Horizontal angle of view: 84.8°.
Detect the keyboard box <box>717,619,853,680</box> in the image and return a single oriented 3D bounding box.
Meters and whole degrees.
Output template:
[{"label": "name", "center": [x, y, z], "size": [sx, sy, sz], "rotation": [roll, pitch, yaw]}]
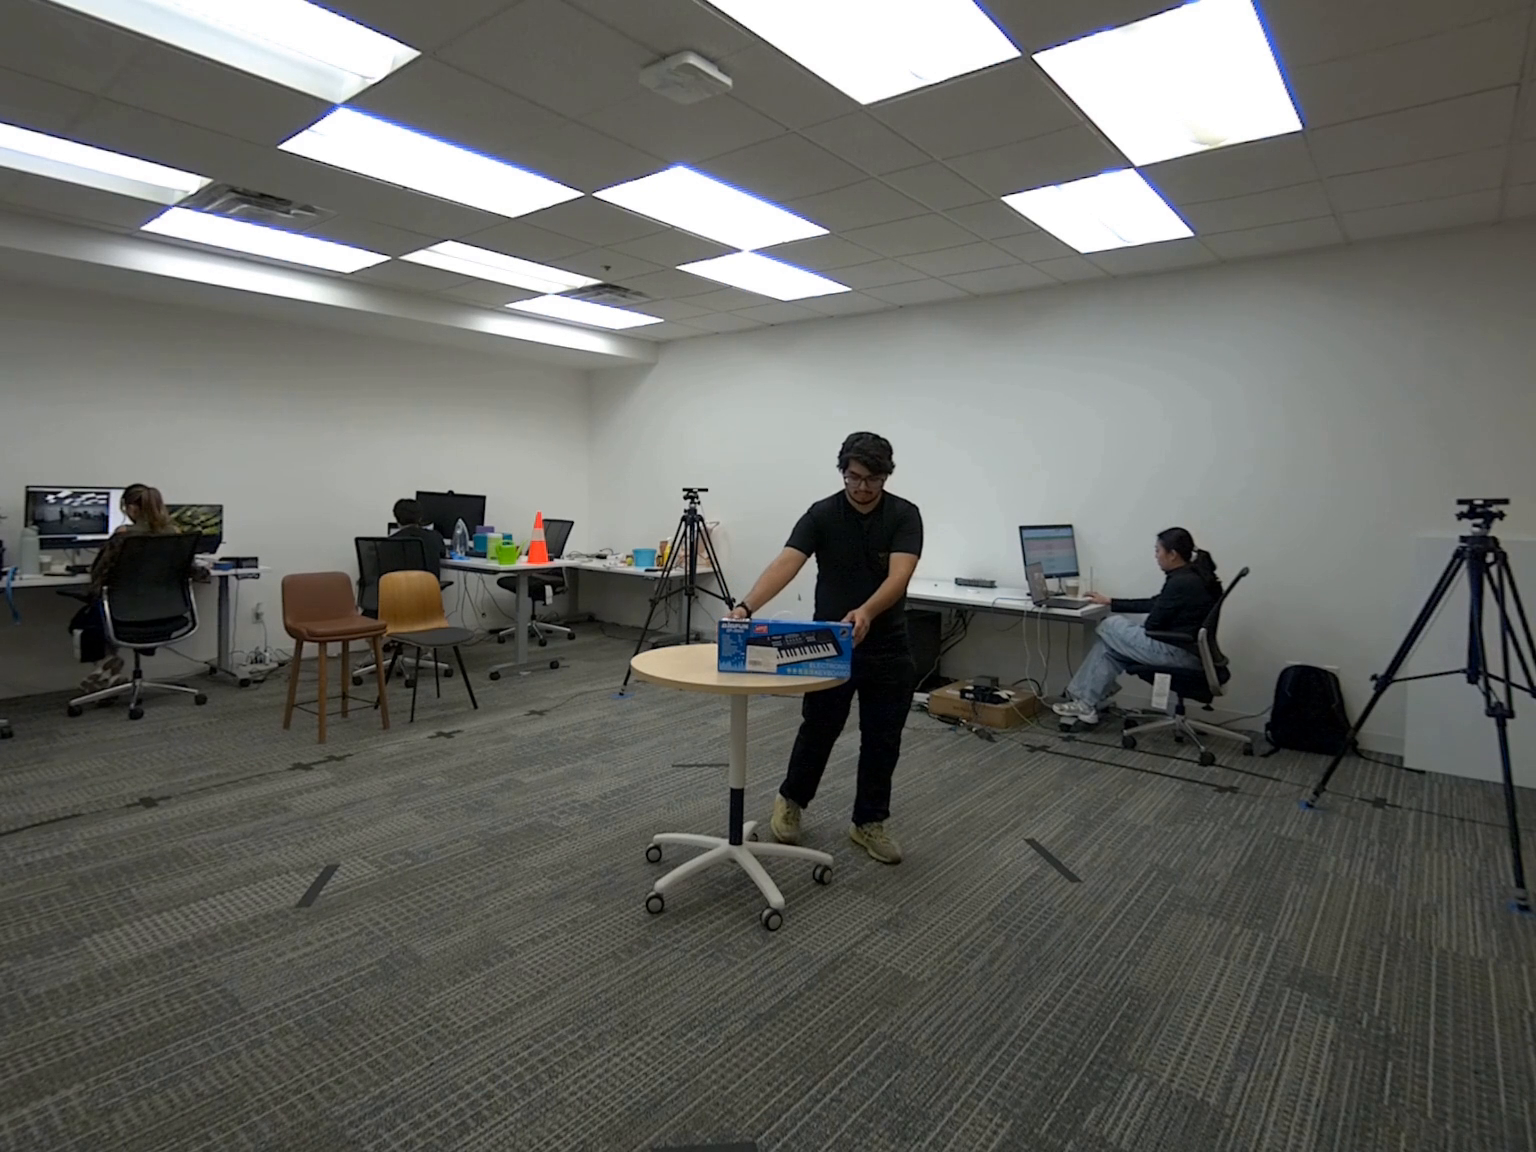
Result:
[{"label": "keyboard box", "center": [0.045, 0.235, 2.801], "size": [0.440, 0.175, 0.059], "rotation": [1, 5, 7]}]
